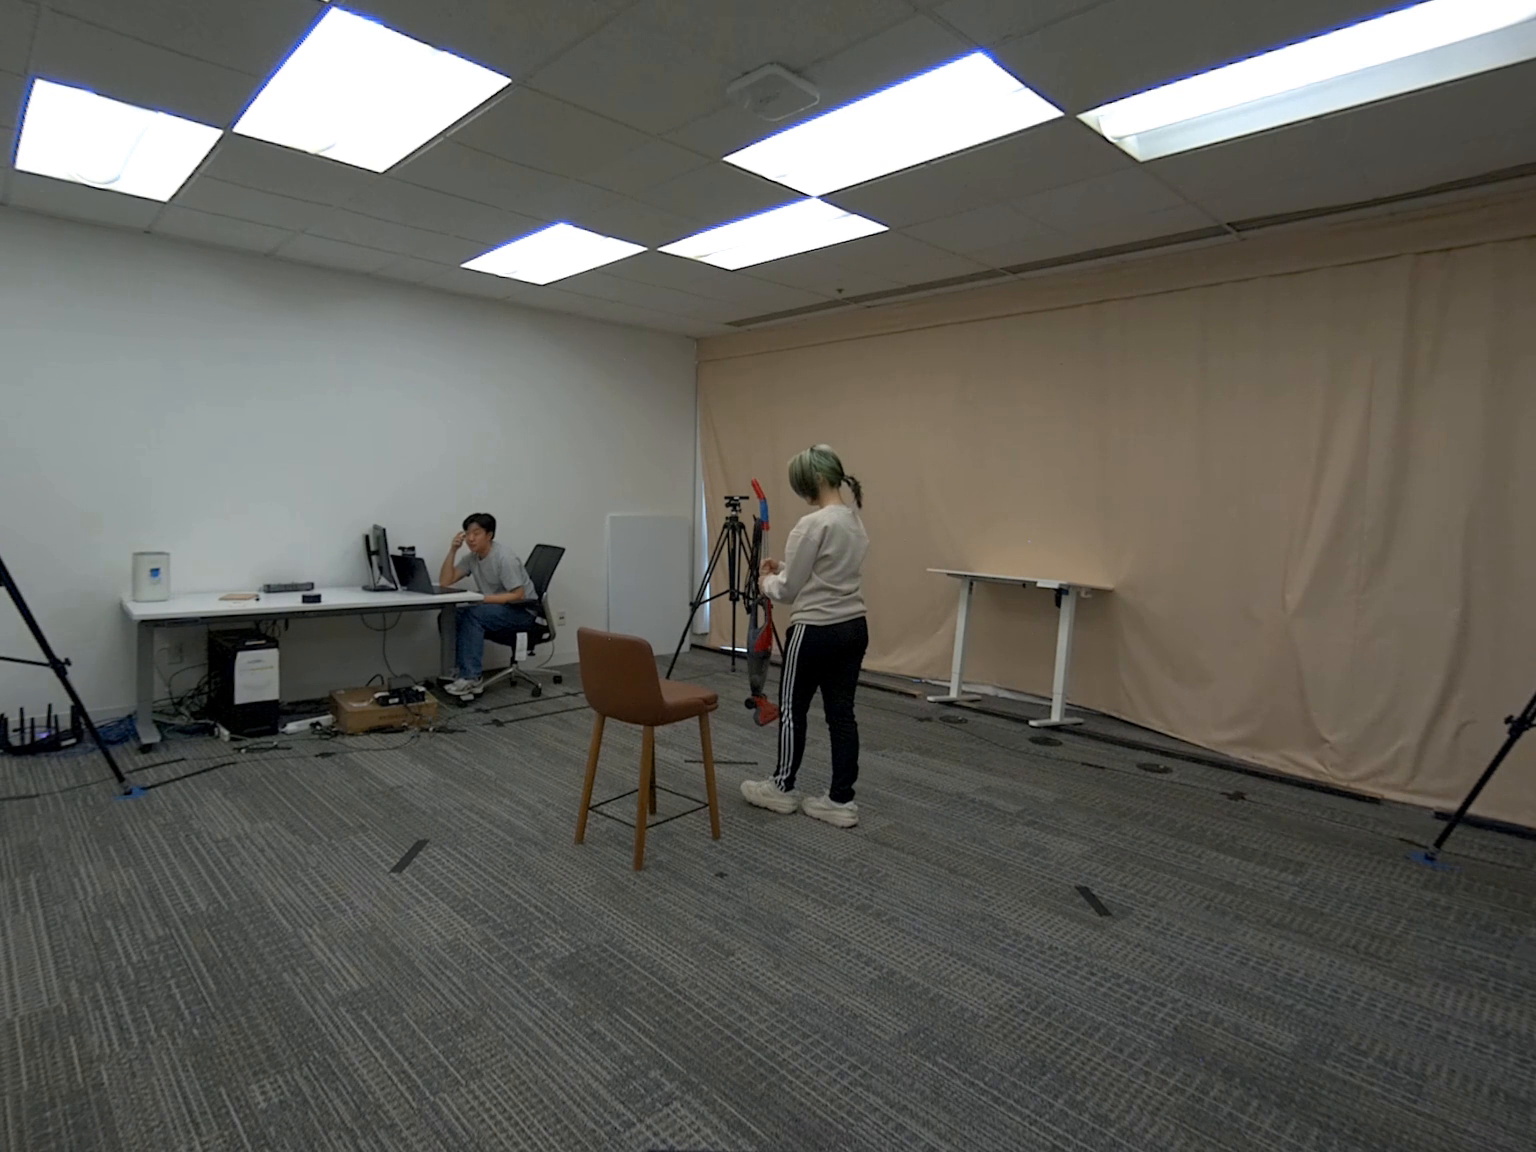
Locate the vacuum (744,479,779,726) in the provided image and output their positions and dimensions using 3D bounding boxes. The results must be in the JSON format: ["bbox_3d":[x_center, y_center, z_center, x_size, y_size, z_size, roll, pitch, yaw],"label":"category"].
[{"bbox_3d":[-0.054,0.091,3.852,0.147,1.048,0.247,-2,1,34],"label":"vacuum"}]
